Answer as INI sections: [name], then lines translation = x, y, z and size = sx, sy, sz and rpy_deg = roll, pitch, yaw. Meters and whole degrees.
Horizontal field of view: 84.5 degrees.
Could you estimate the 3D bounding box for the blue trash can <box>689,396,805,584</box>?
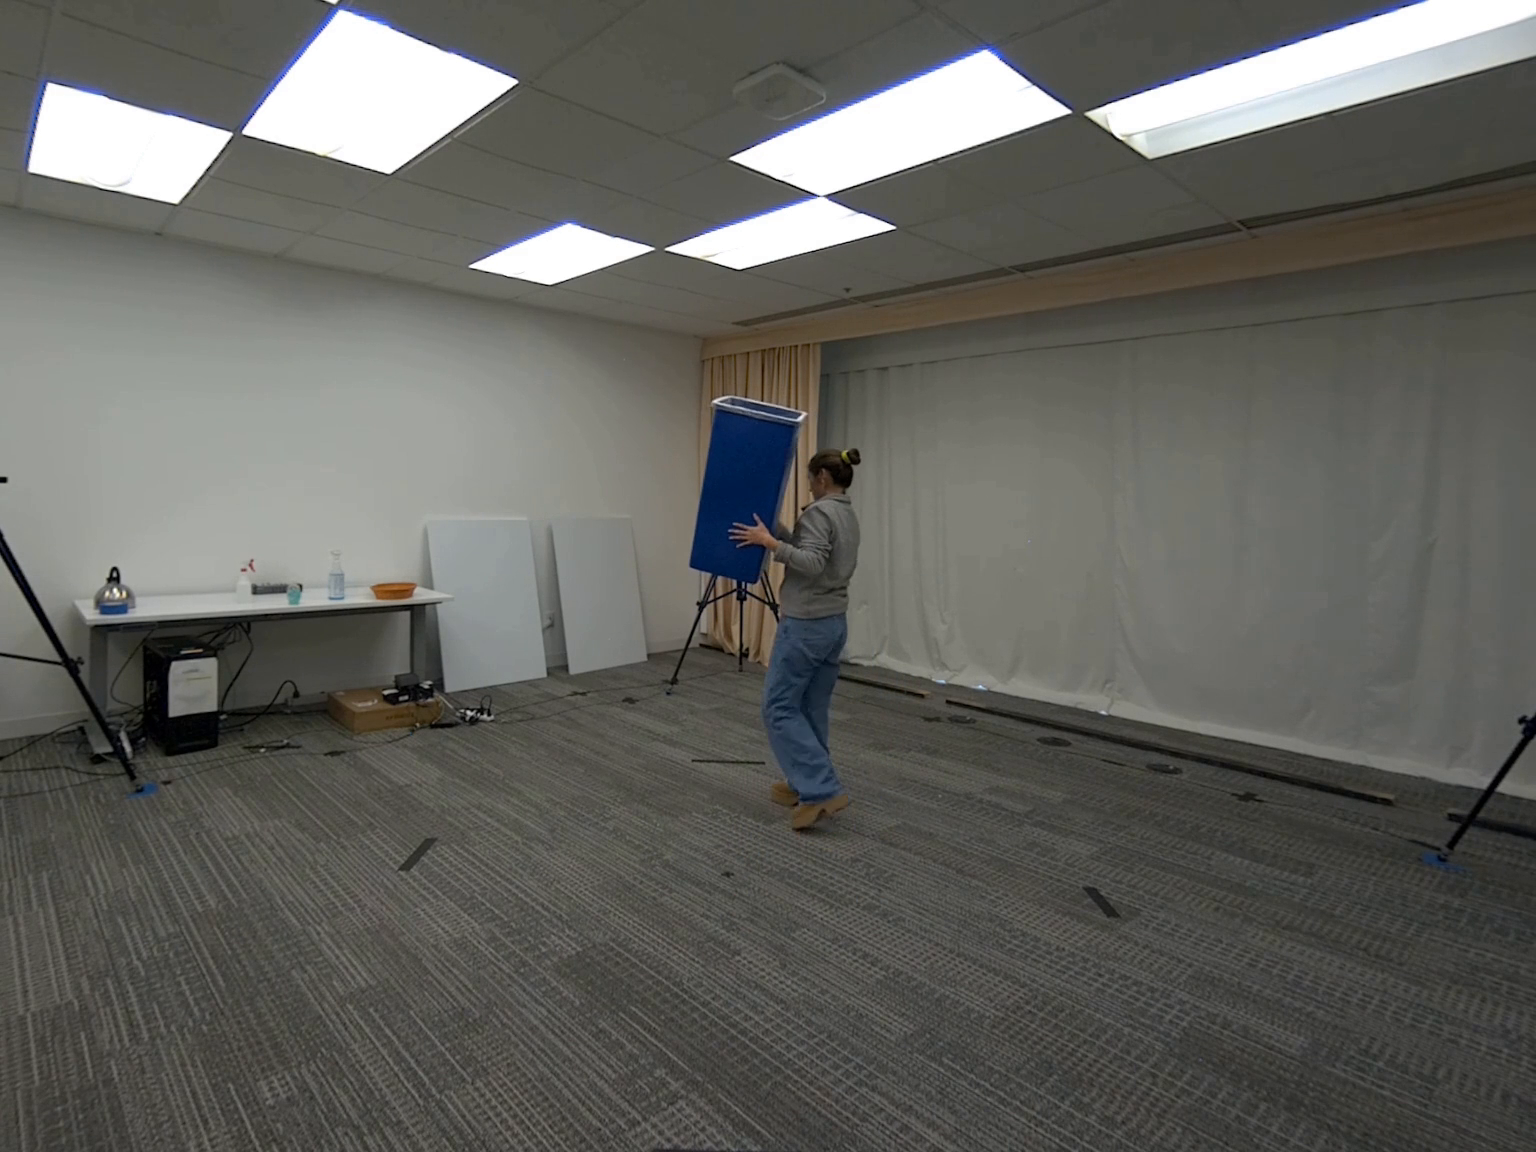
[blue trash can]
translation = -0.106, -0.375, 3.593
size = 0.377, 0.707, 0.379
rpy_deg = 14, 16, 6
